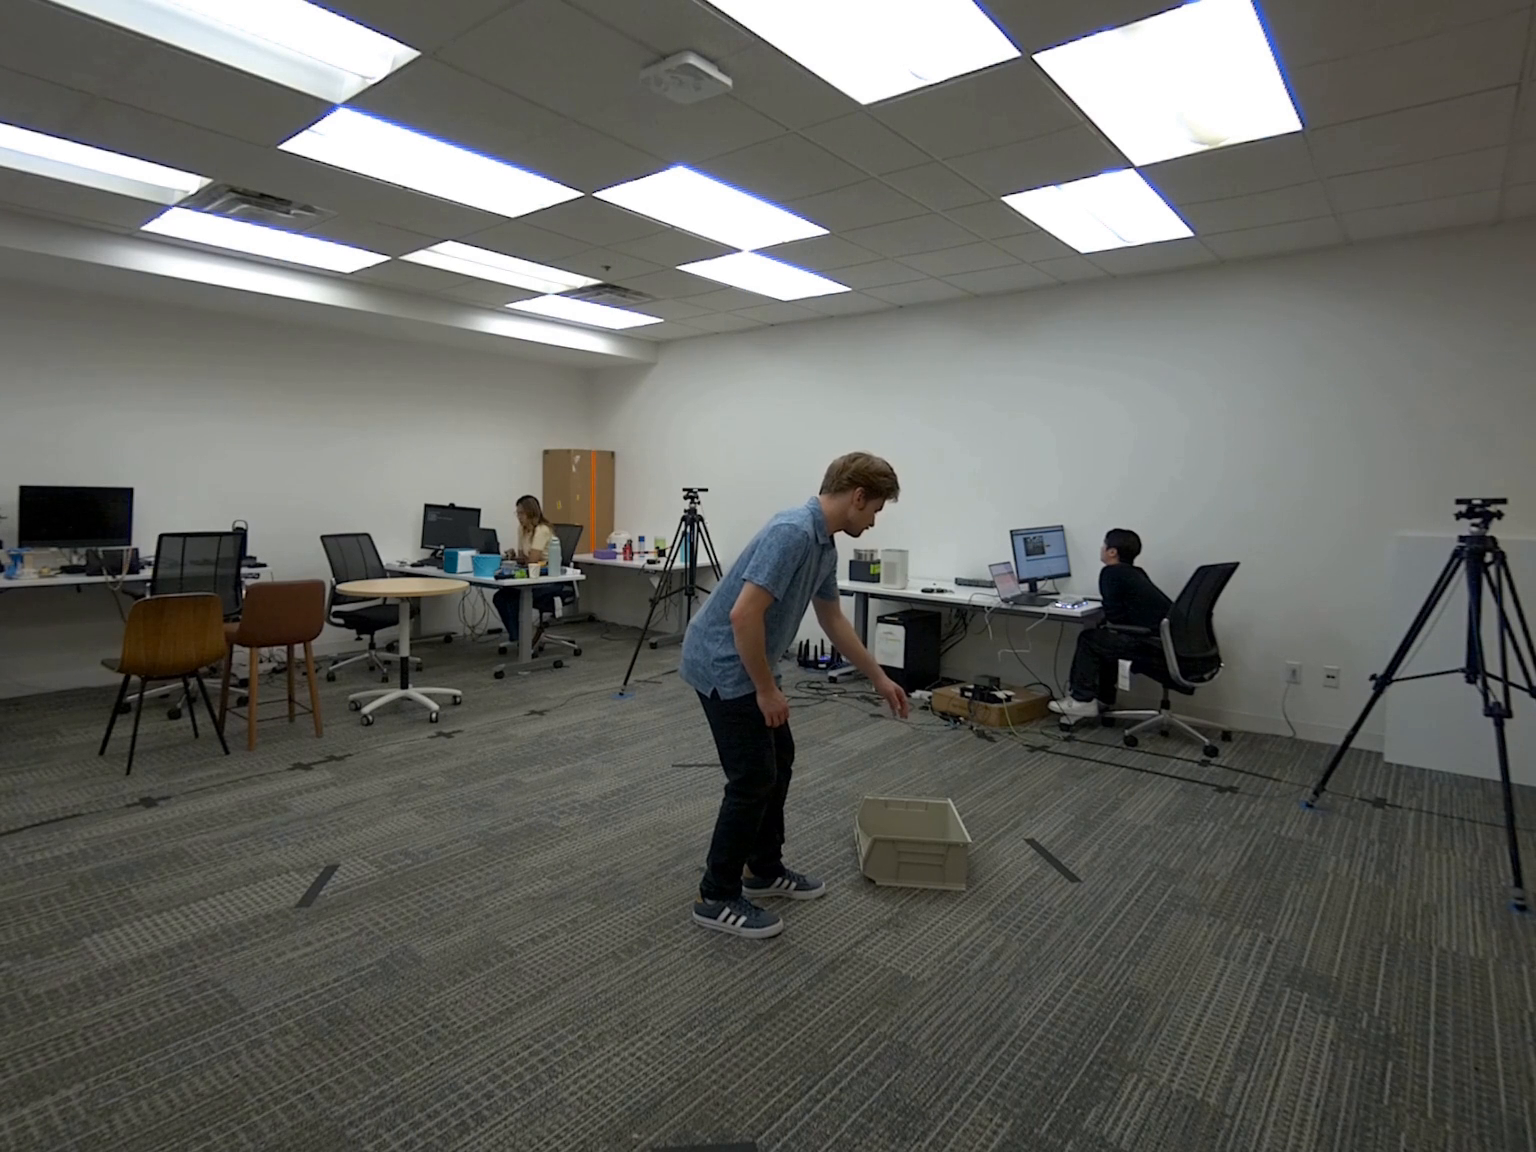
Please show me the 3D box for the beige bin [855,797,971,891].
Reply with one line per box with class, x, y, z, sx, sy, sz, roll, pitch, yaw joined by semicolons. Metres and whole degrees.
beige bin;0.525;0.989;3.202;0.379;0.188;0.422;2;4;3
